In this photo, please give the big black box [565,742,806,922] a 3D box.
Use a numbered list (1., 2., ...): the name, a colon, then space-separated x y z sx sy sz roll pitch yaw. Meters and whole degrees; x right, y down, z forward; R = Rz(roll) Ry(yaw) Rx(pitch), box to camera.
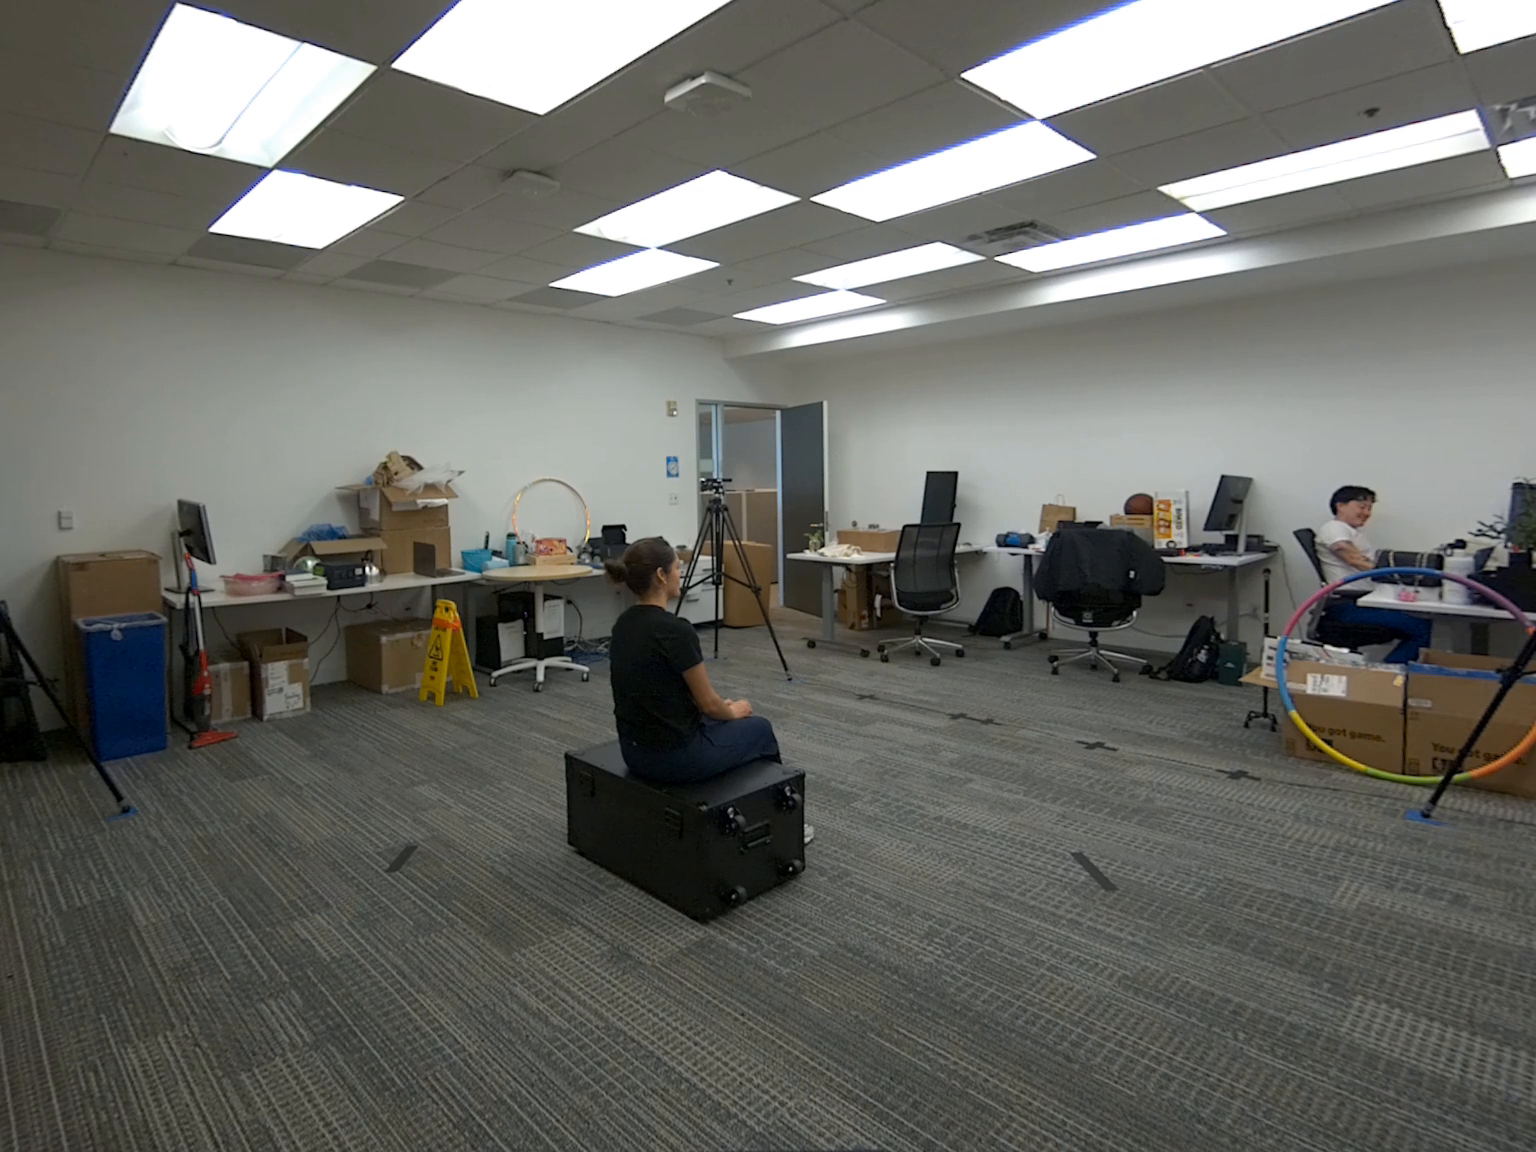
1. big black box: -0.296 0.862 3.093 0.508 0.394 0.888 -7 8 -44
